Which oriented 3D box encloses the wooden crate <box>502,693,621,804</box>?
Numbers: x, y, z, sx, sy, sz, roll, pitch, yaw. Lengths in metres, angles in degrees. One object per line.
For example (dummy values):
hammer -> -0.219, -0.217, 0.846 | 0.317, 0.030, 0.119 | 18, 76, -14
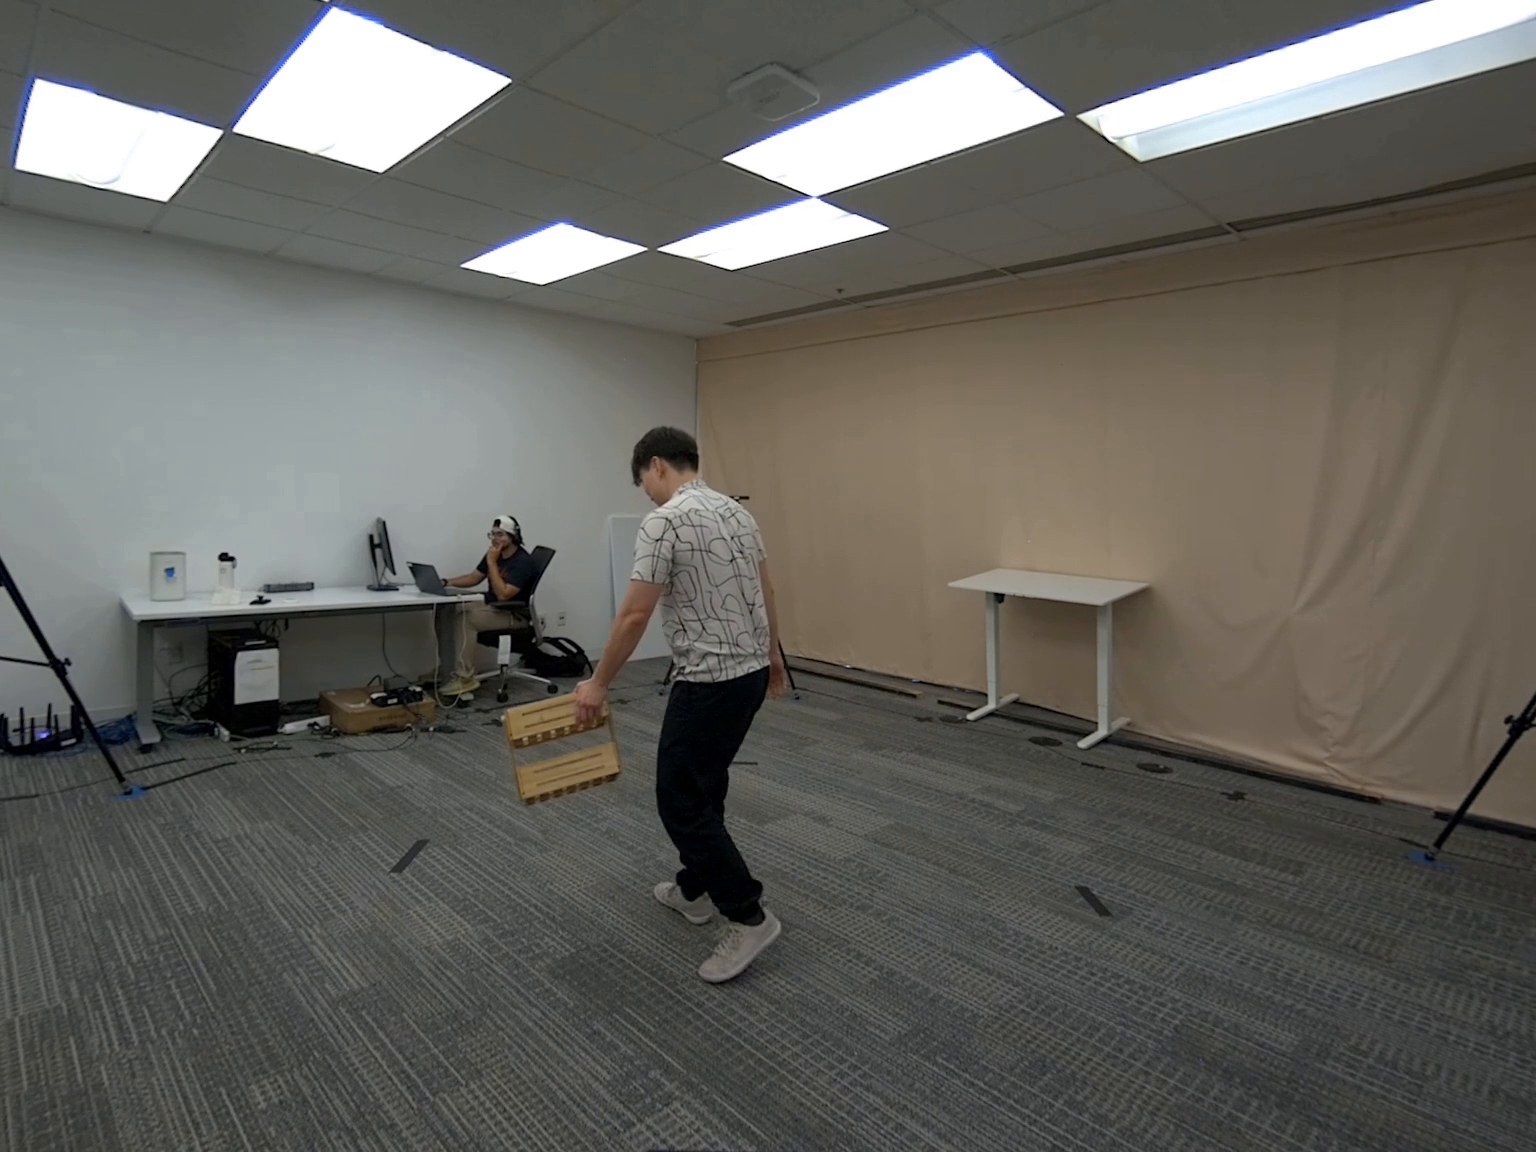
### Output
wooden crate -> -0.657, 0.522, 2.646 | 0.321, 0.277, 0.301 | -13, -13, -19
